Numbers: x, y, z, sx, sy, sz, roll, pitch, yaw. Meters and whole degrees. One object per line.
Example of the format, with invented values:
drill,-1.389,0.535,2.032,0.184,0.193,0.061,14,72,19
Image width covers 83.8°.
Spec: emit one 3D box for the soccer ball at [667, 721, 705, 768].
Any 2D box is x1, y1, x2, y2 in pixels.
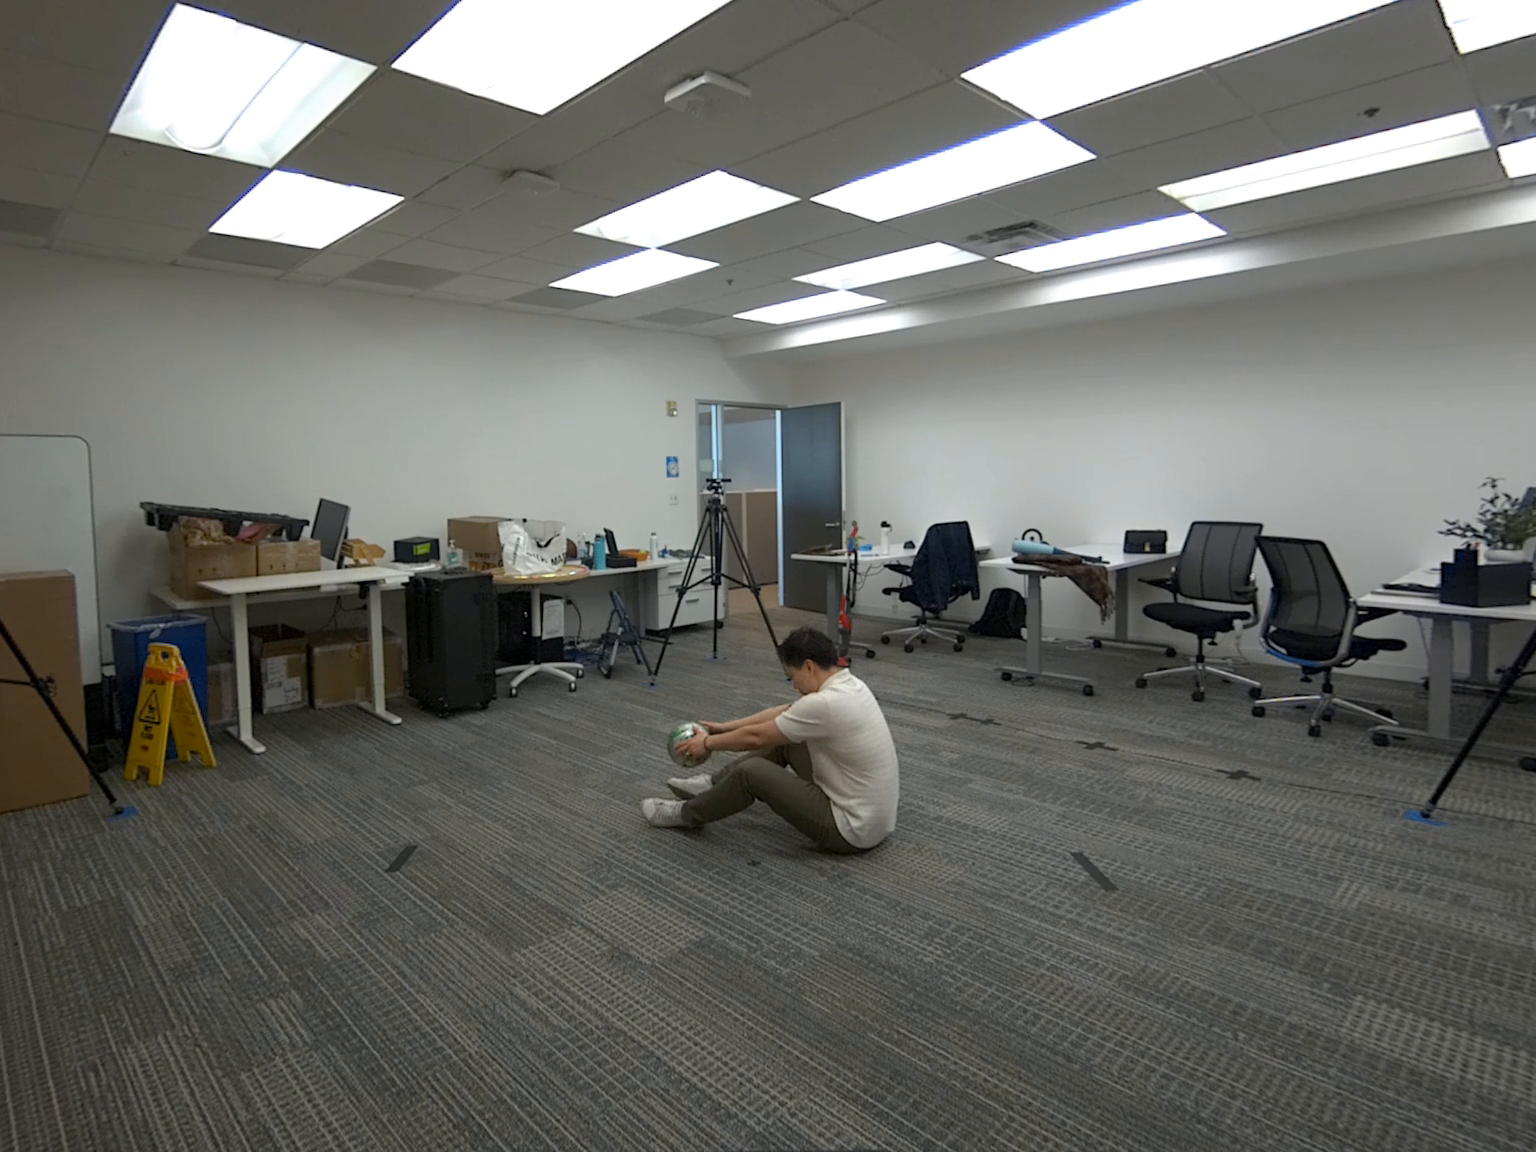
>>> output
soccer ball,-0.315,0.681,3.519,0.187,0.187,0.188,-1,5,-2
